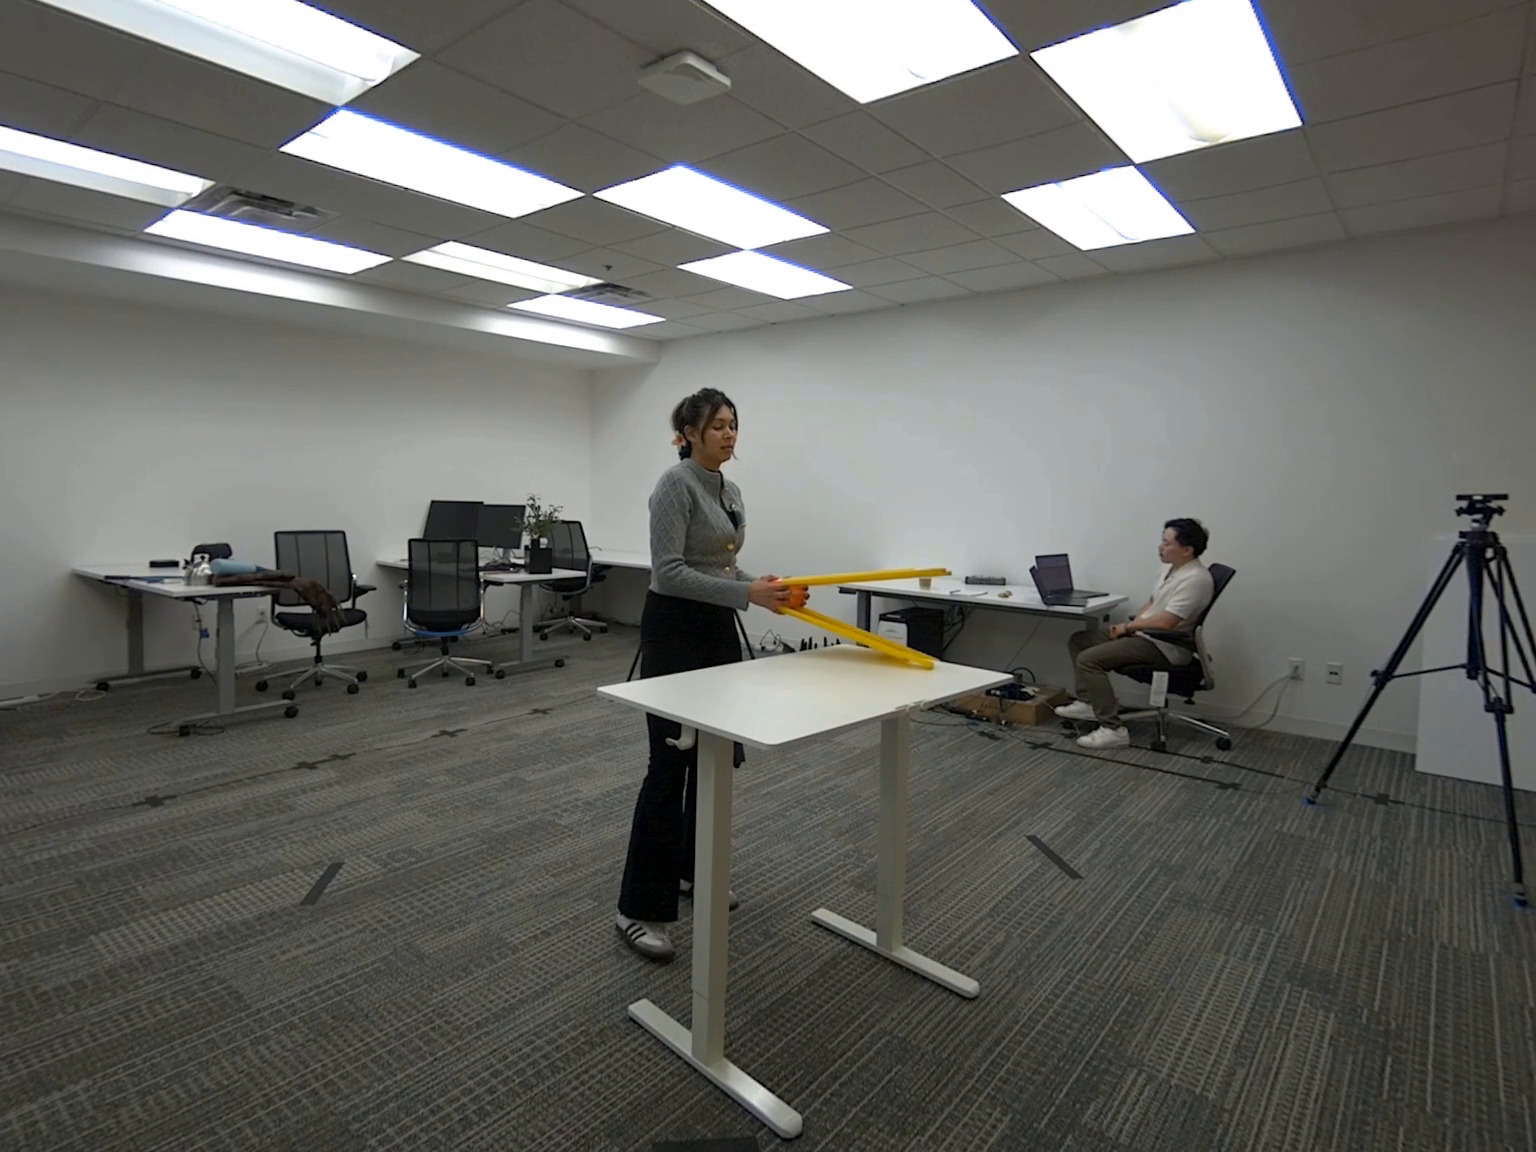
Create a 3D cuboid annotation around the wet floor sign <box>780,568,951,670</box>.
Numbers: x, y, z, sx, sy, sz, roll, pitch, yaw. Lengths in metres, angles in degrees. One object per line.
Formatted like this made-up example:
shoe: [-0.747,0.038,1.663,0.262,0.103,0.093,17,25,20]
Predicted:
wet floor sign: [0.218,0.083,2.678,0.661,0.290,0.275,8,-2,20]
